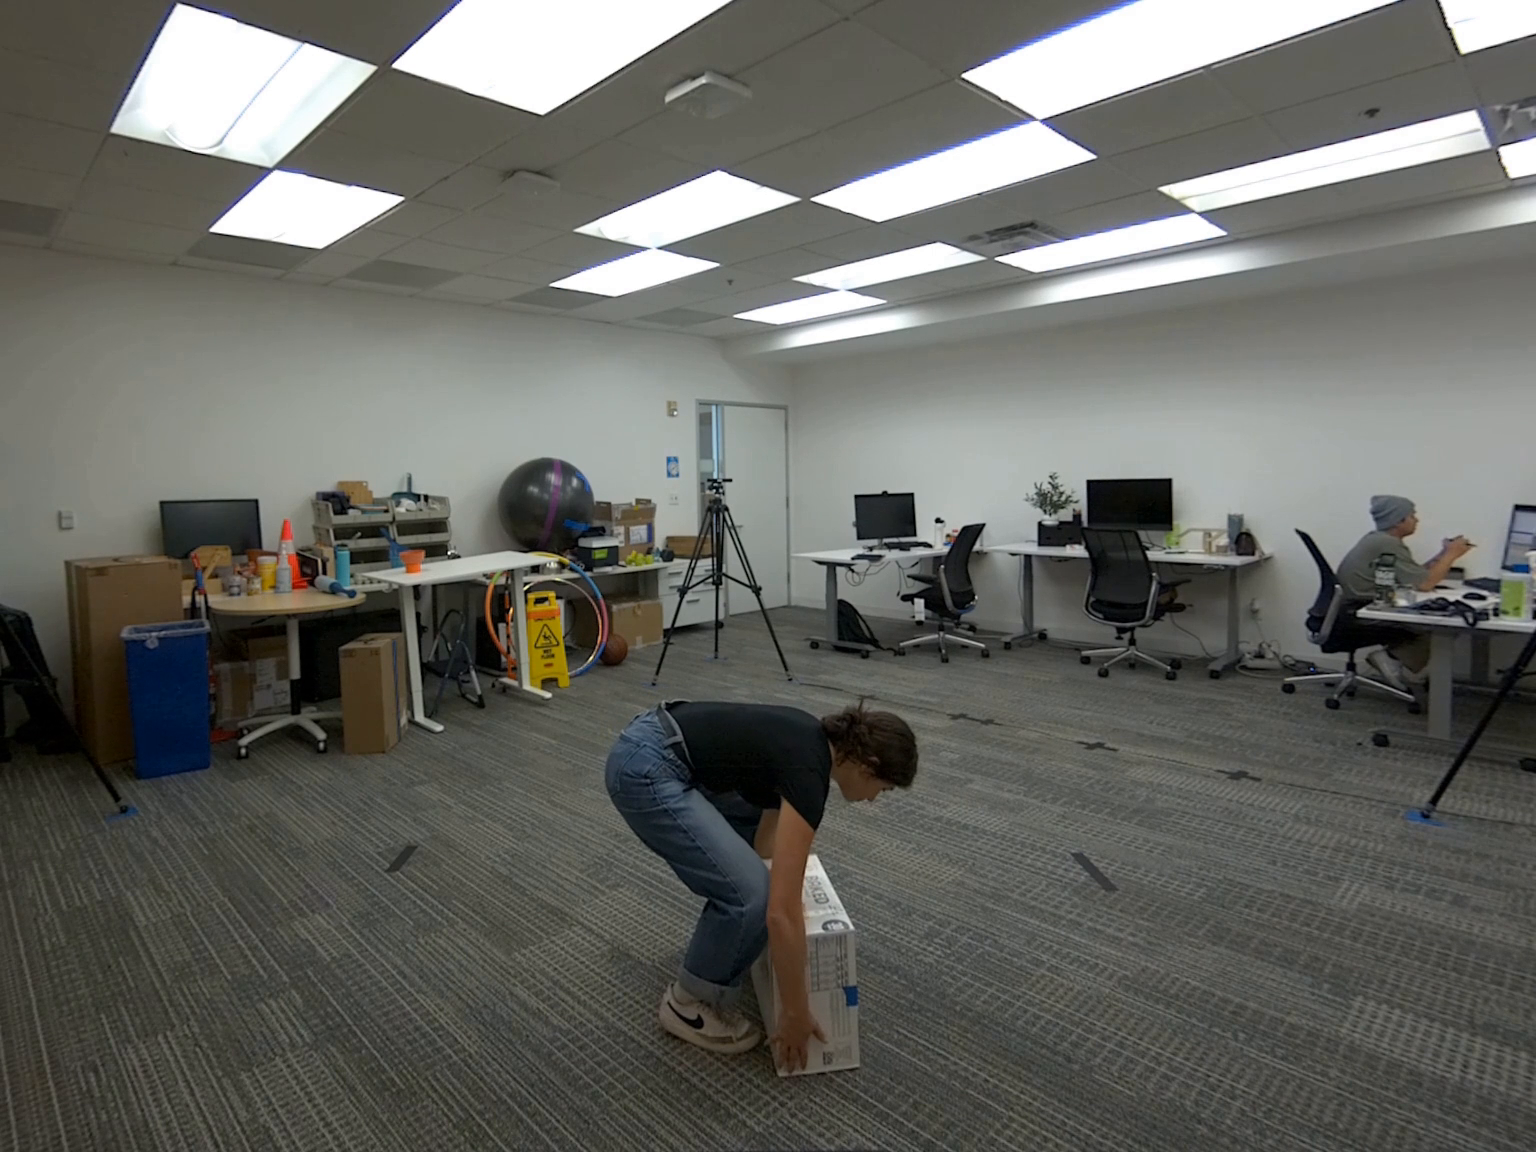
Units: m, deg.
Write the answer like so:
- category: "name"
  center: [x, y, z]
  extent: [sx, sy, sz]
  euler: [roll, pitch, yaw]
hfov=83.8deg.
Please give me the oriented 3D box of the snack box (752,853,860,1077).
- category: "snack box"
  center: [0.086, 0.976, 2.195]
  extent: [0.204, 0.339, 0.410]
  euler: [-4, 5, -8]
